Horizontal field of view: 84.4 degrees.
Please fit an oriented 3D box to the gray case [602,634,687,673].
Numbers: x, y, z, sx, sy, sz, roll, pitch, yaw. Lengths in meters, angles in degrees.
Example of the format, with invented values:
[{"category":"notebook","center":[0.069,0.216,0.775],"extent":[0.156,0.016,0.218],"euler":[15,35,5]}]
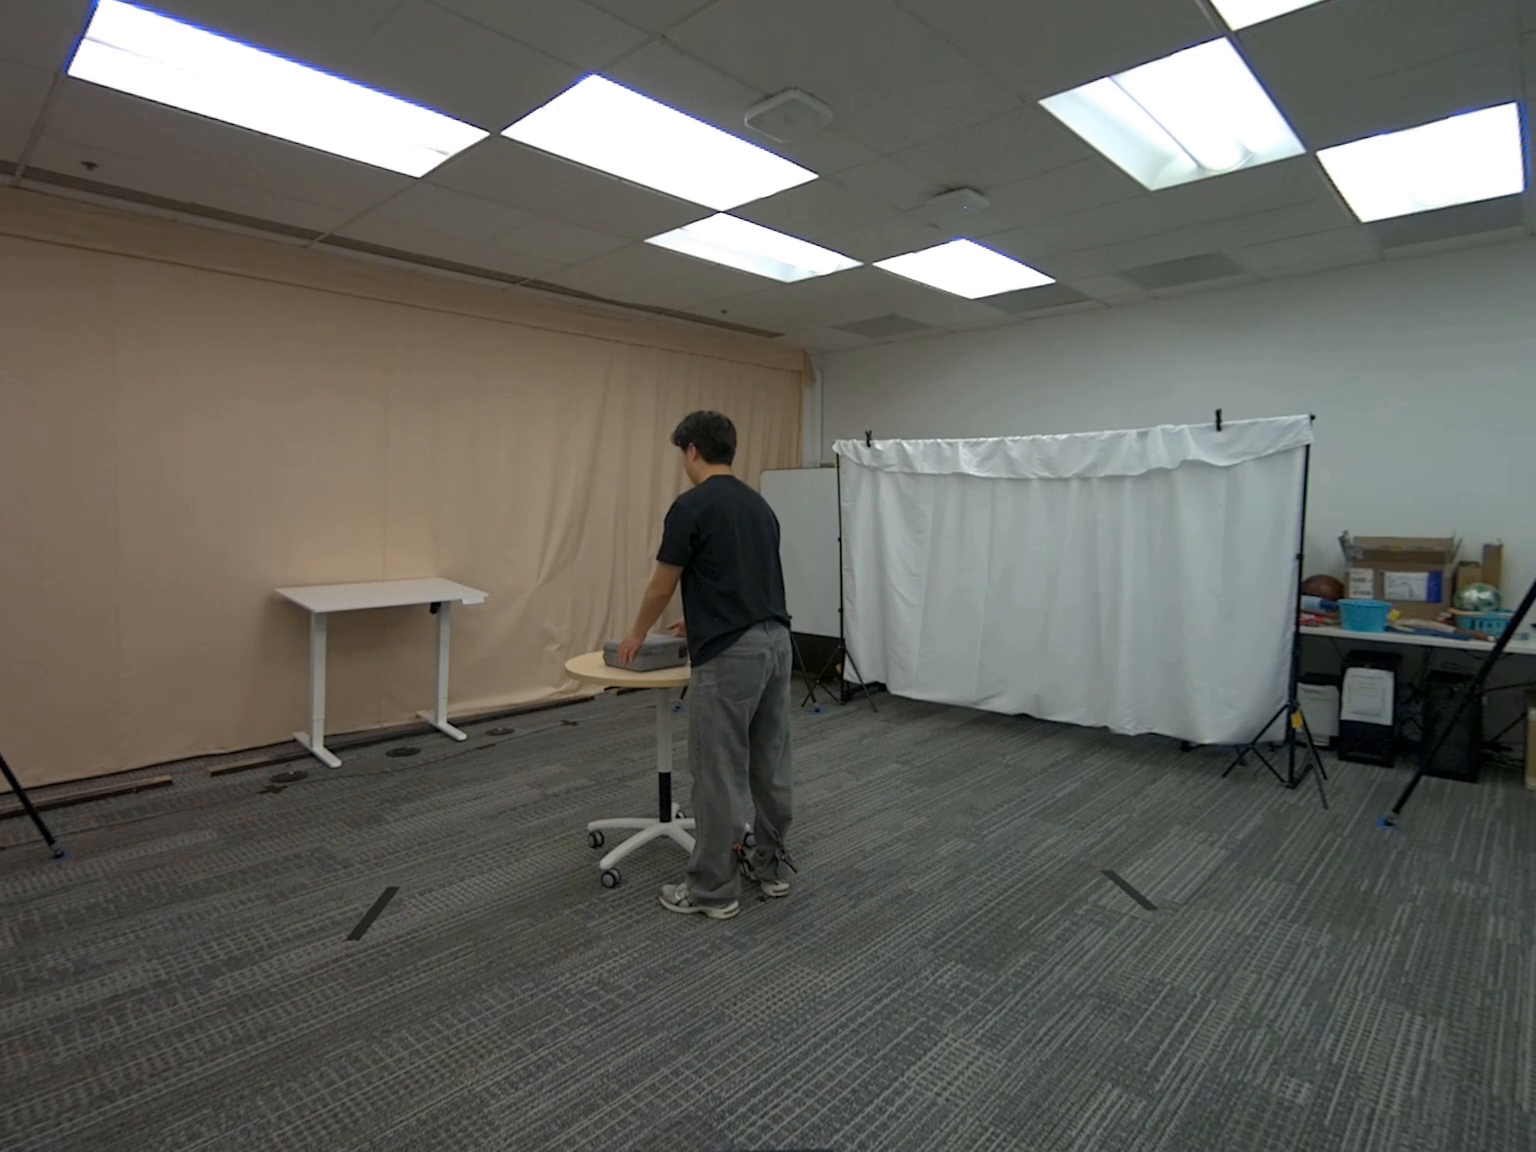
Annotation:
[{"category":"gray case","center":[-0.479,0.292,3.254],"extent":[0.255,0.103,0.296],"euler":[-4,5,-42]}]
